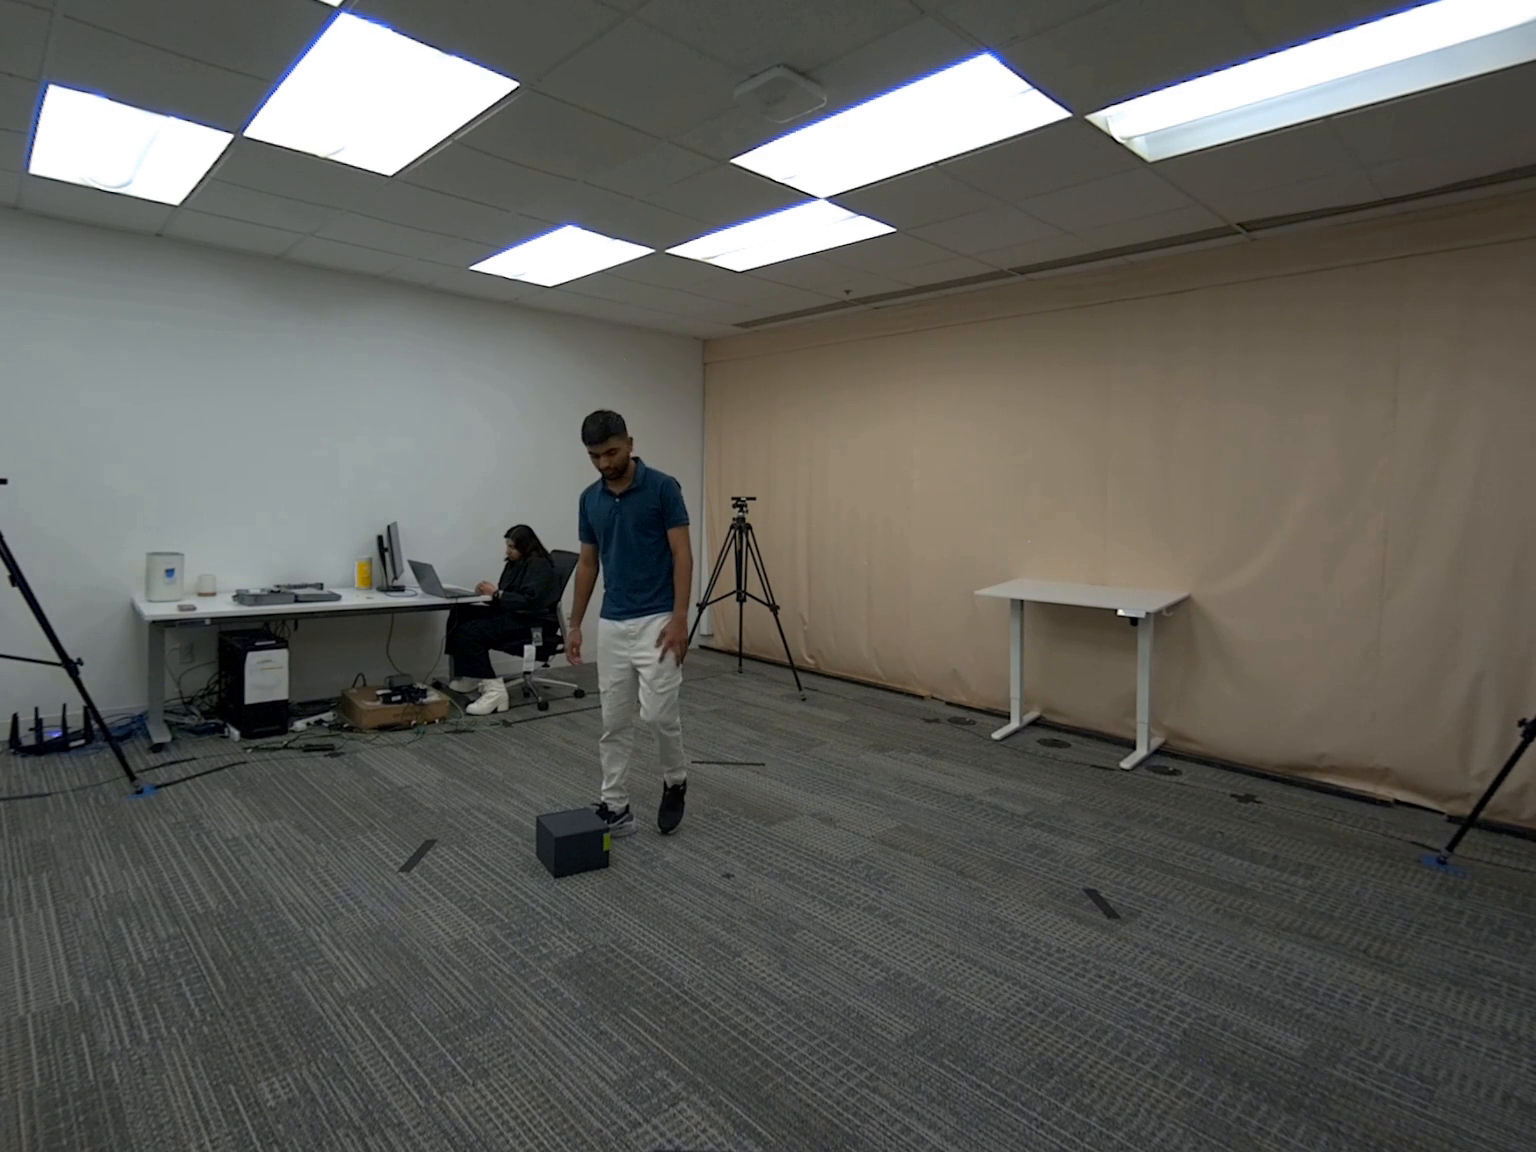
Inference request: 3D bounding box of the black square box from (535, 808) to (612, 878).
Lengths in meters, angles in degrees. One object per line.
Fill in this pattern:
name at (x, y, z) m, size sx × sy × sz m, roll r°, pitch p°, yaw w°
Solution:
black square box at (-0.748, 1.005, 3.185) m, size 0.212 × 0.155 × 0.233 m, roll -1°, pitch 5°, yaw -32°
